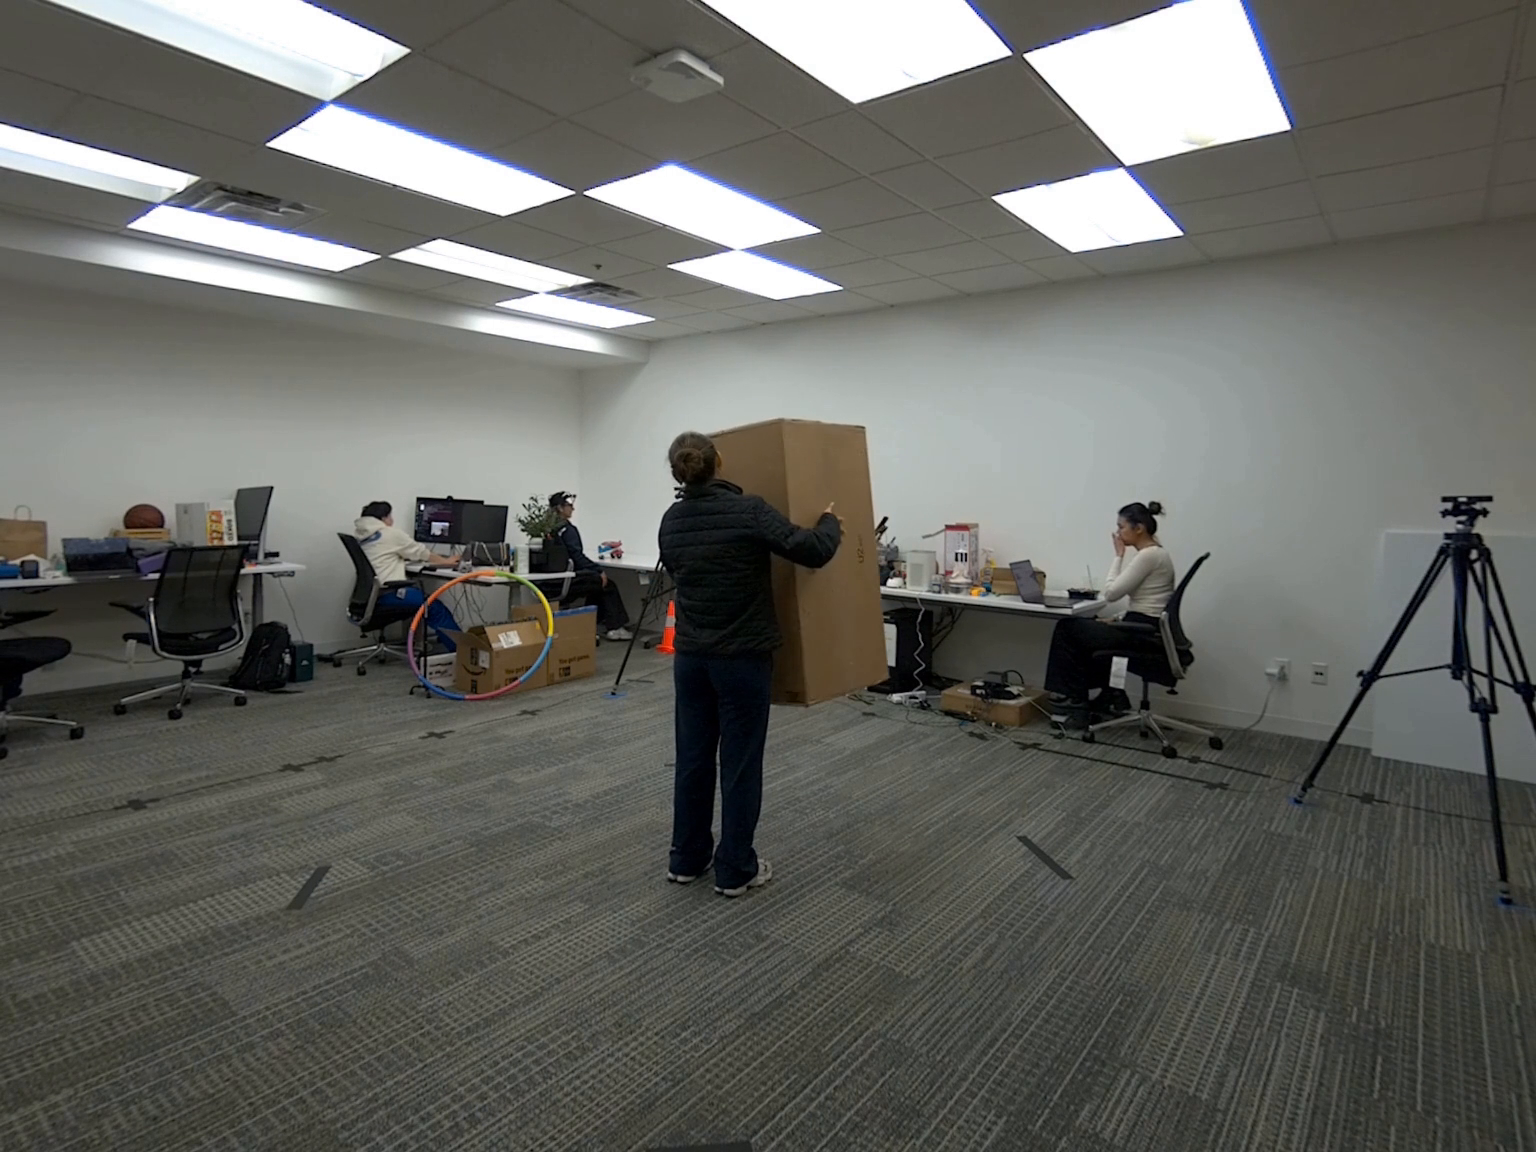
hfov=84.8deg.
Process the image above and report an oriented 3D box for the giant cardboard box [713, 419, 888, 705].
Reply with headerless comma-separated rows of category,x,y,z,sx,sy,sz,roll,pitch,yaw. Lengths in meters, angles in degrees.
giant cardboard box,0.118,-0.069,3.352,0.438,1.026,0.561,-5,0,40
